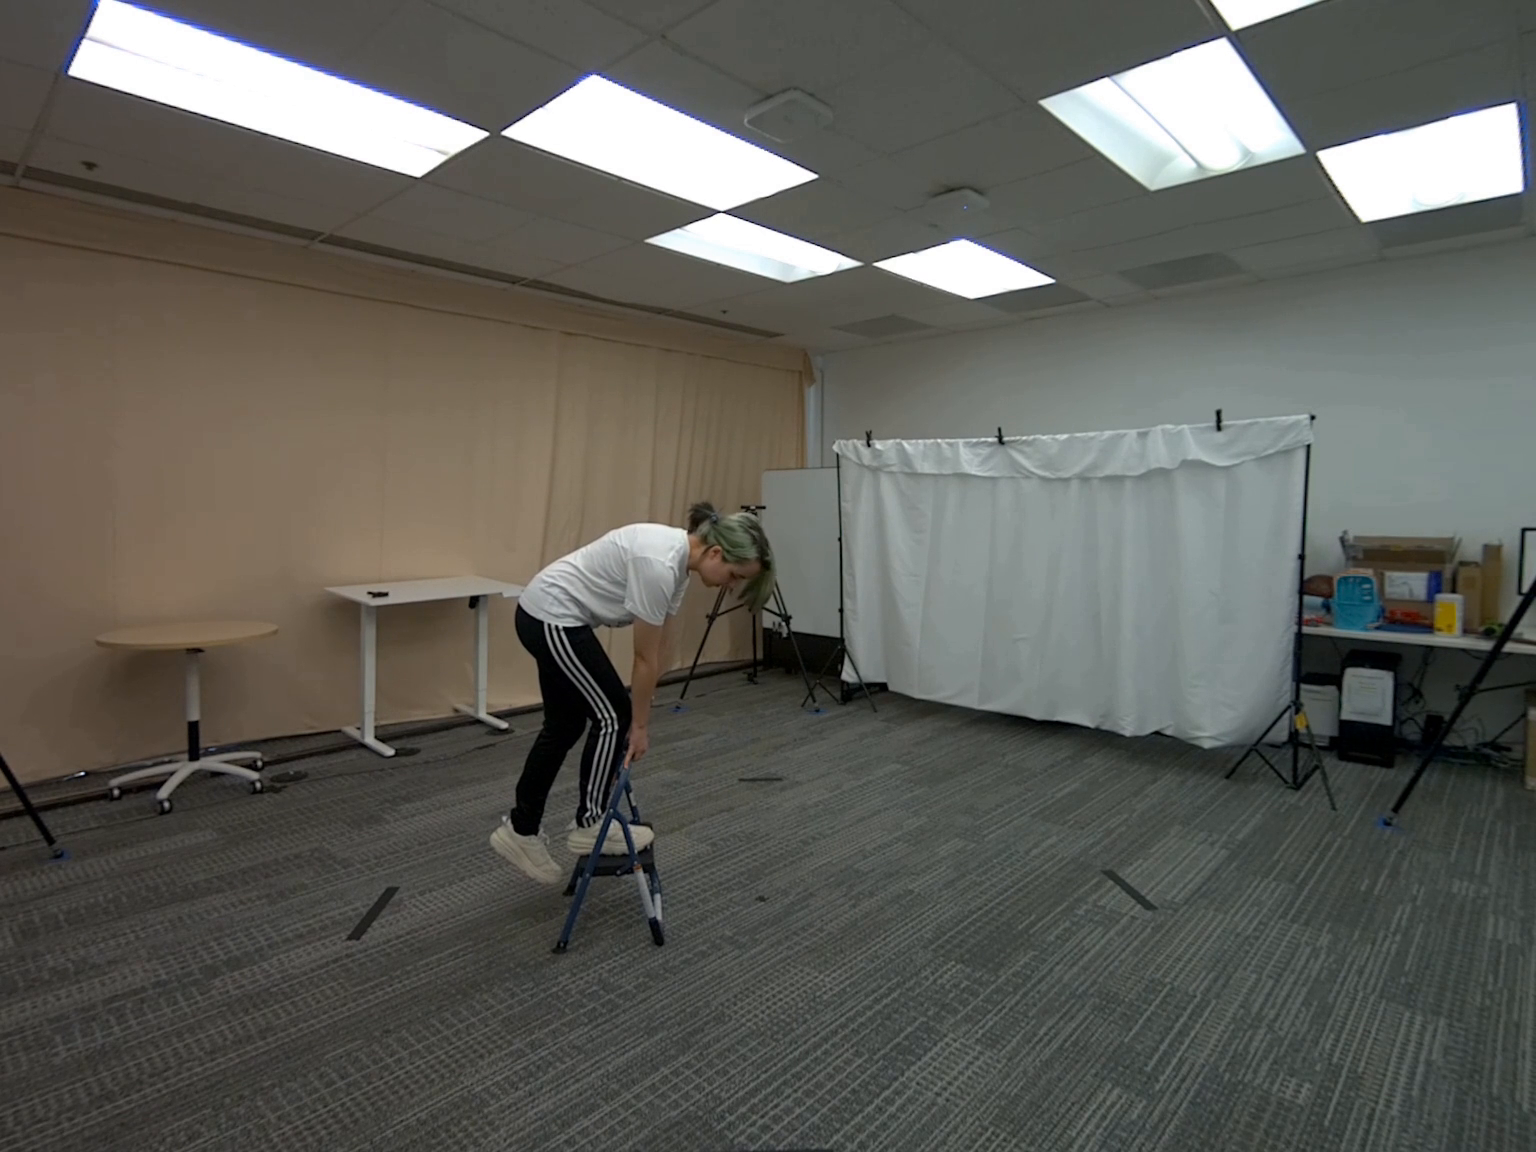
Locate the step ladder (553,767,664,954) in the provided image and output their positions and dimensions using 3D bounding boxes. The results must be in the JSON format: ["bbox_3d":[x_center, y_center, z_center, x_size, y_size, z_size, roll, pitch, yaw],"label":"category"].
[{"bbox_3d":[-0.531,0.863,2.837,0.347,0.605,0.434,-1,3,-8],"label":"step ladder"}]
